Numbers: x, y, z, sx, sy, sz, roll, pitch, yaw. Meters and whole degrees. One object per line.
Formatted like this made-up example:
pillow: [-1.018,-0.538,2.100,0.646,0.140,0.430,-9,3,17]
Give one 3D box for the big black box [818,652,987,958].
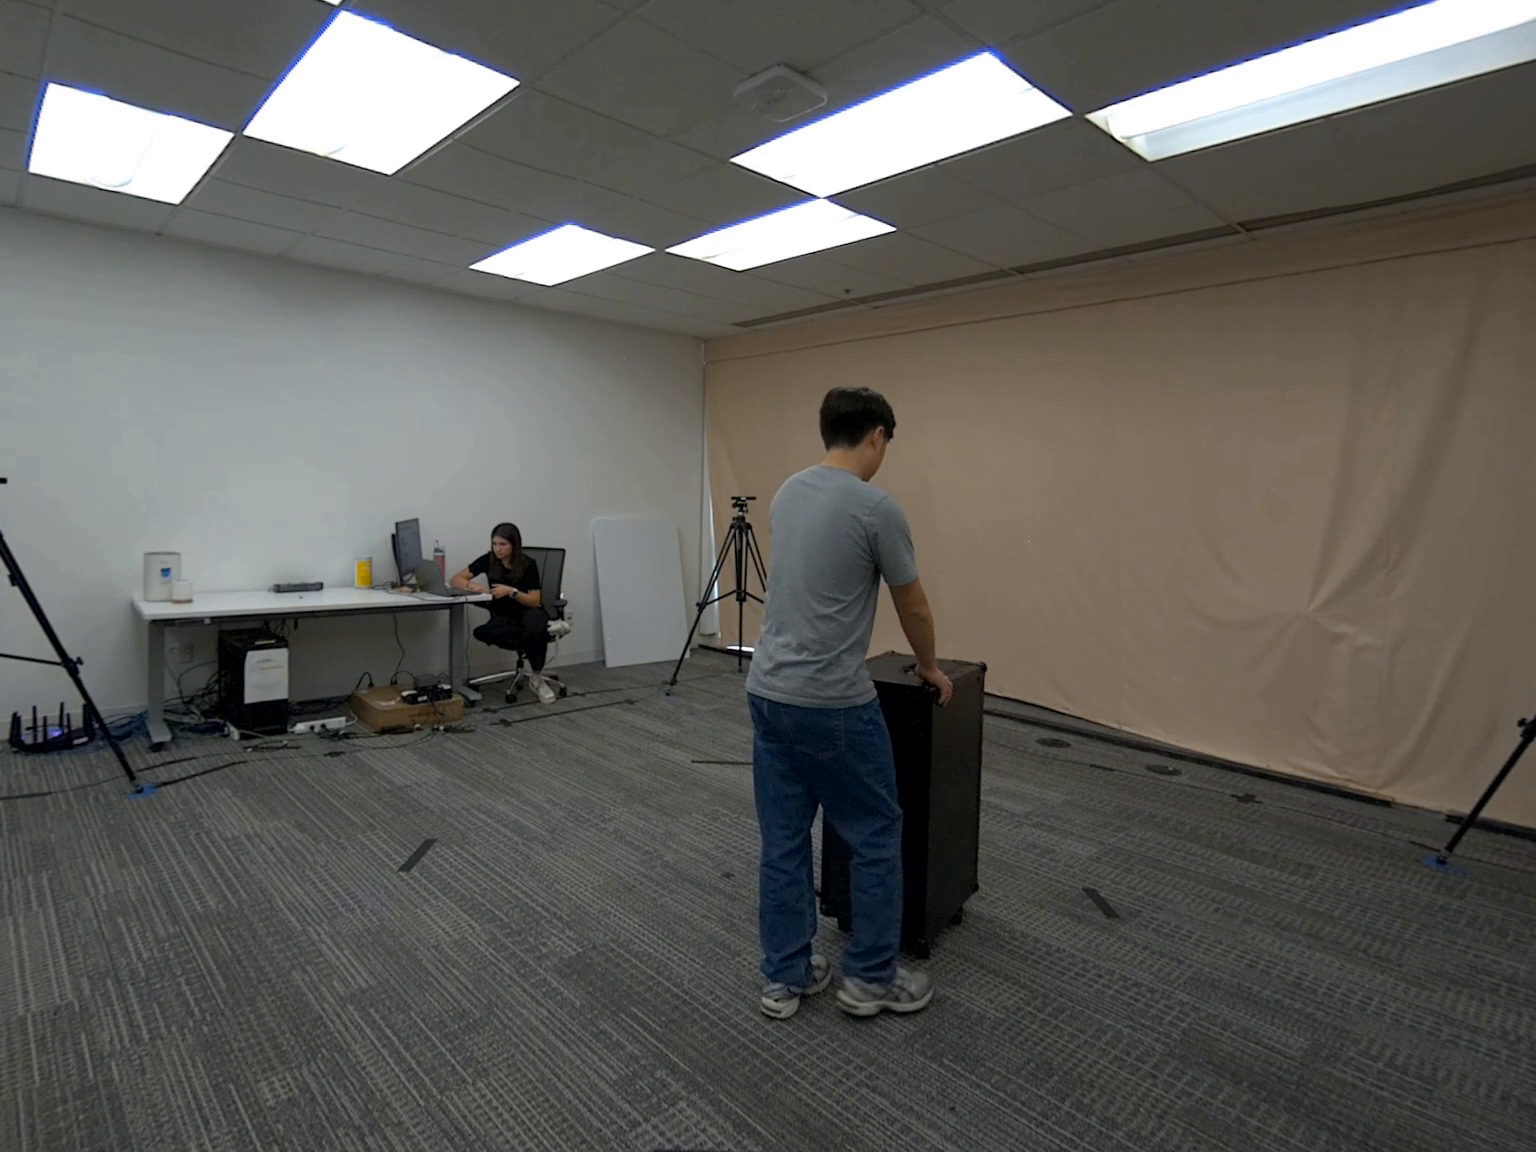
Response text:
big black box: [0.438,0.729,2.772,0.405,0.859,0.511,2,4,32]
